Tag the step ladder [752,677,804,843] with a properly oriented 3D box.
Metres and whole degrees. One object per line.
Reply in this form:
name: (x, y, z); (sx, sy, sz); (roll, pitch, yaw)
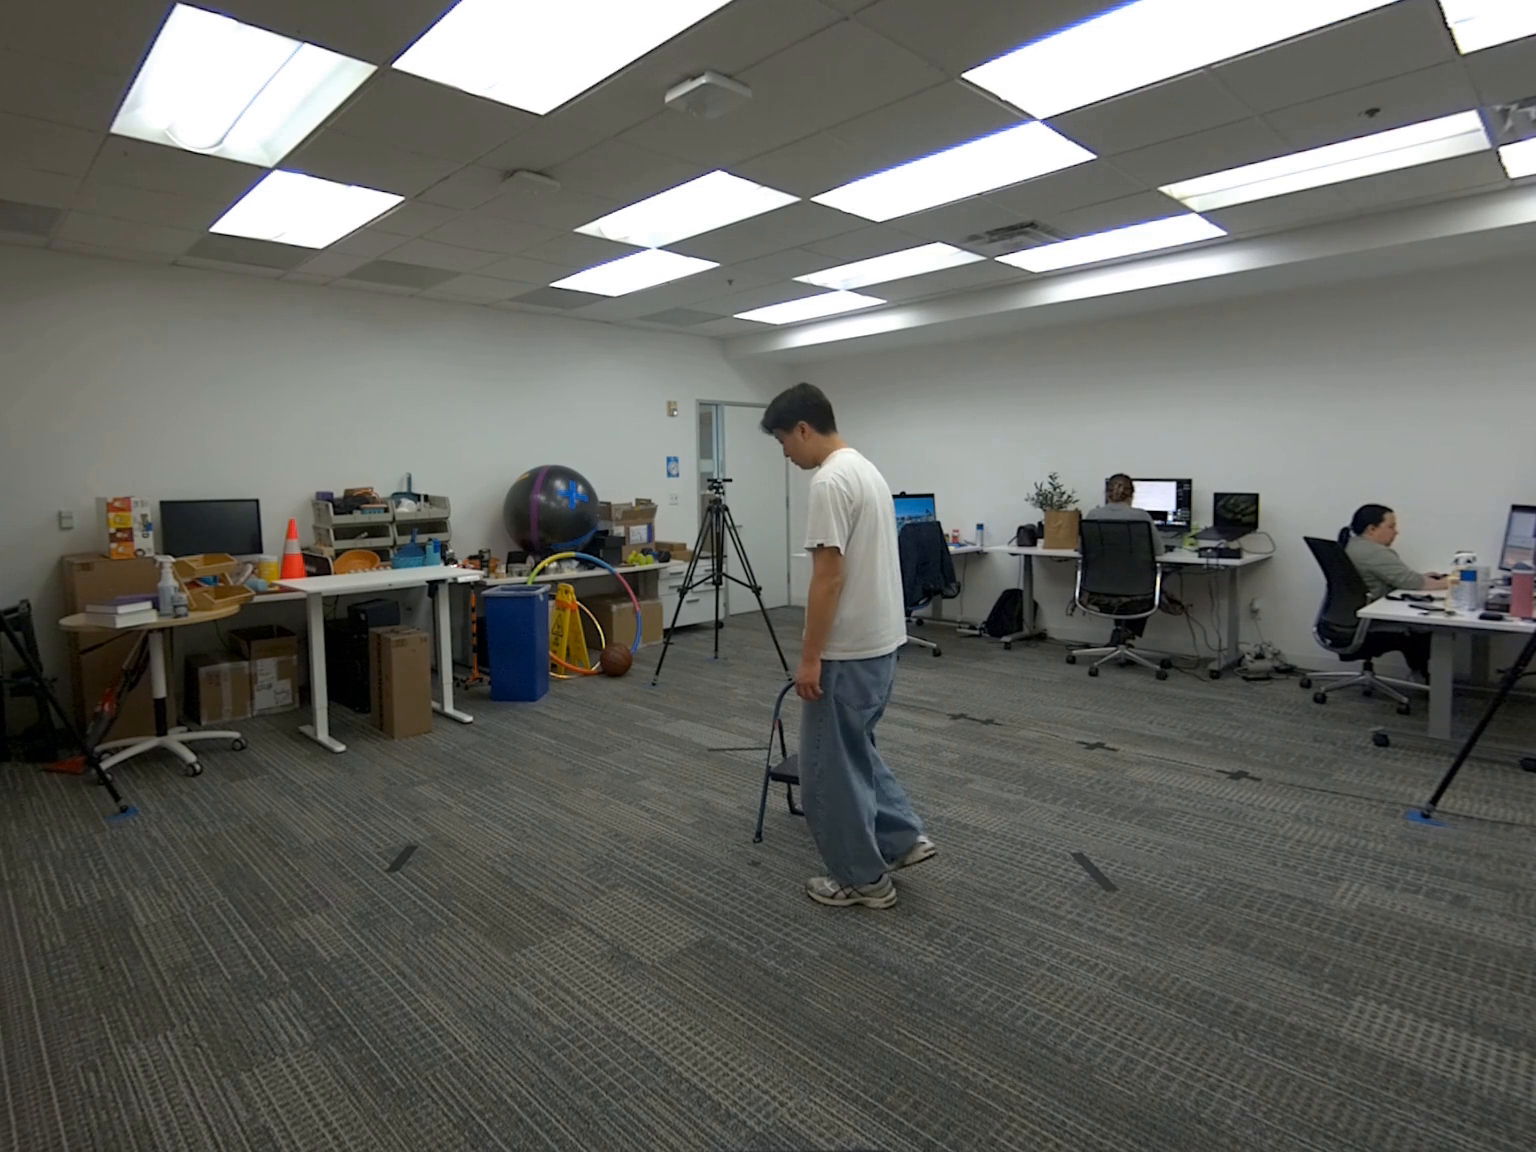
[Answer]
step ladder: (0.208, 0.713, 3.319); (0.442, 0.604, 0.342); (2, 5, 29)
